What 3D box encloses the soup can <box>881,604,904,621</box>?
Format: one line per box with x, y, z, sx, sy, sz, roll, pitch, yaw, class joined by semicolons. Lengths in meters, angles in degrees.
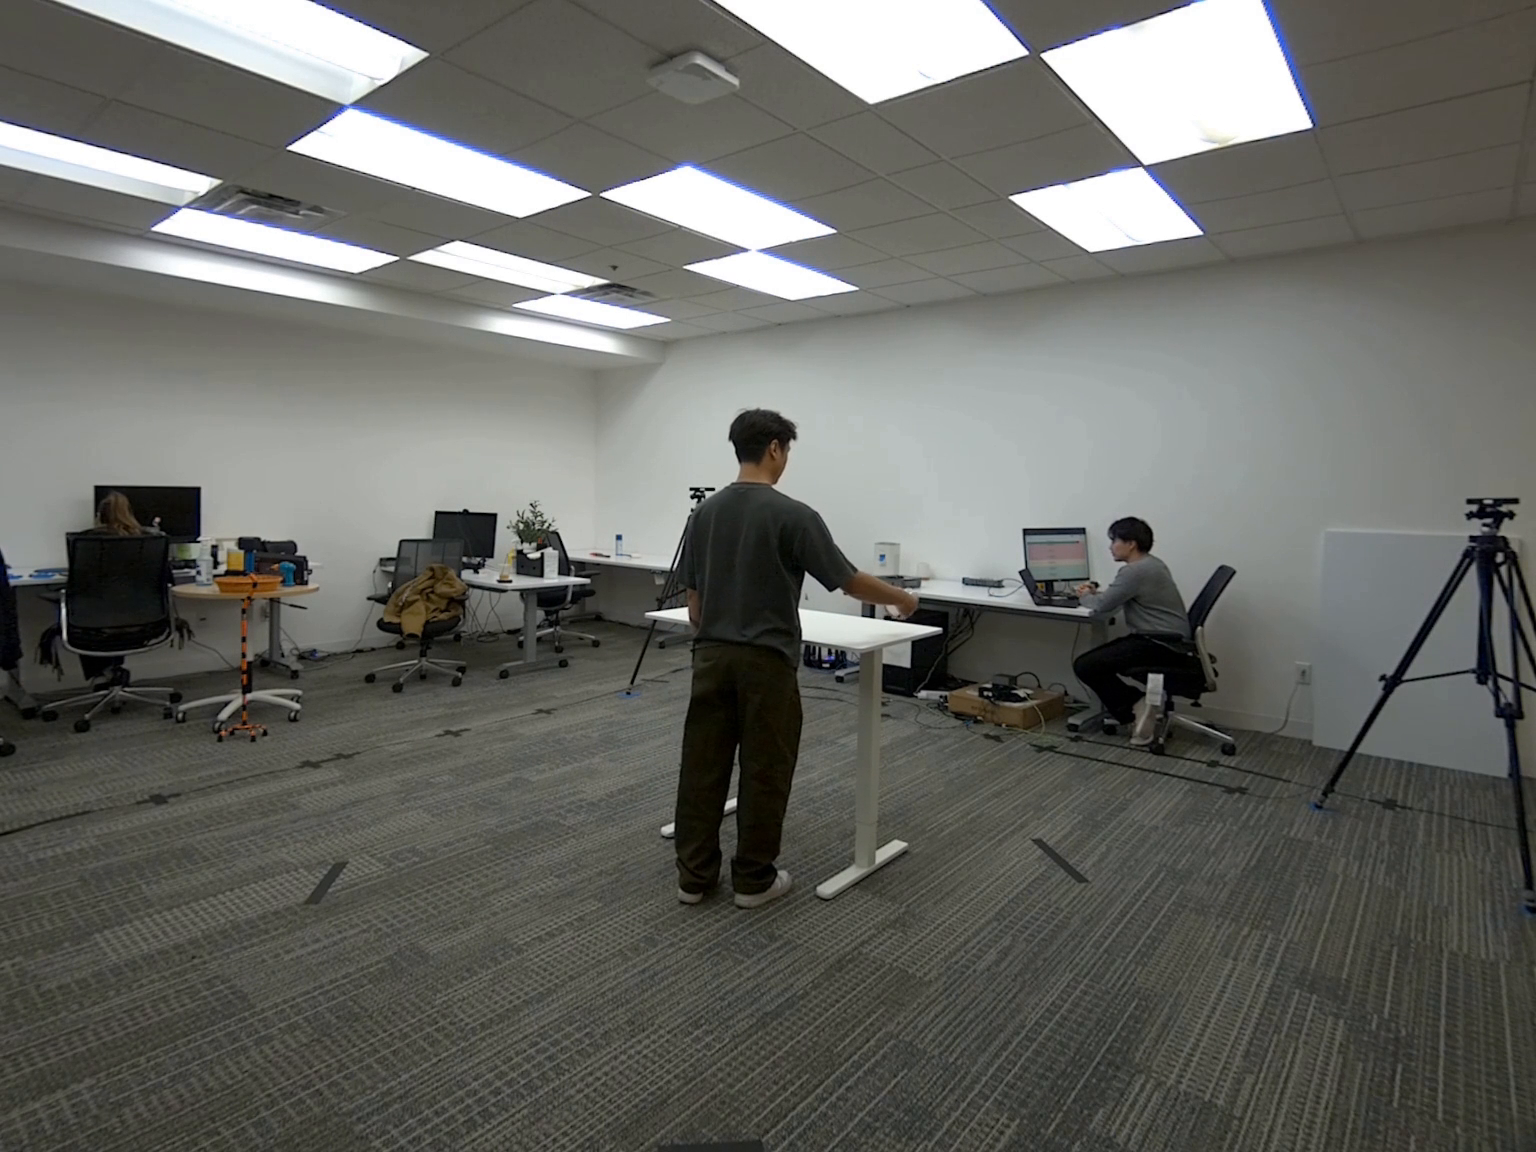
0.458;0.089;3.007;0.119;0.066;0.069;-14;11;-26;soup can
